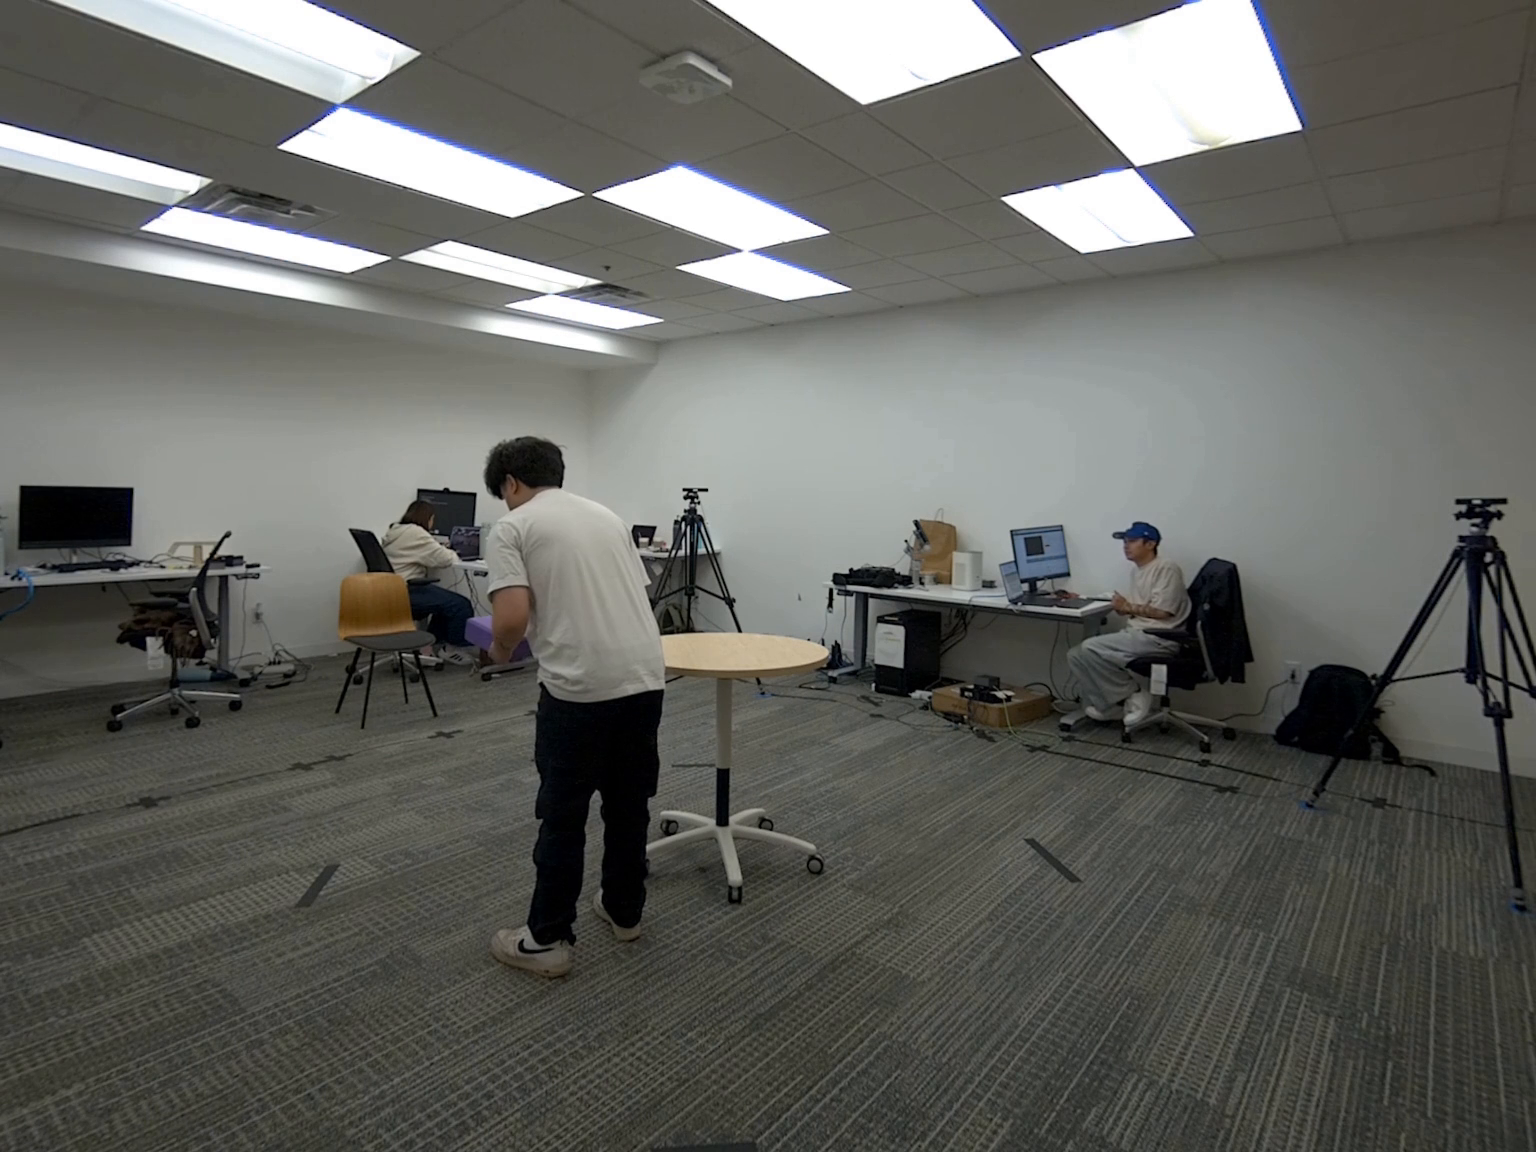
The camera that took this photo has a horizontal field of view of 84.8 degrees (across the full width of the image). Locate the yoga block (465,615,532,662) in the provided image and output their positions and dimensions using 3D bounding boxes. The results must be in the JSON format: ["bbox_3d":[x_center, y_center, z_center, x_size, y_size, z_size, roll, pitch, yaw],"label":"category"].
[{"bbox_3d":[-0.865,0.192,2.753,0.238,0.076,0.145,18,14,33],"label":"yoga block"}]
